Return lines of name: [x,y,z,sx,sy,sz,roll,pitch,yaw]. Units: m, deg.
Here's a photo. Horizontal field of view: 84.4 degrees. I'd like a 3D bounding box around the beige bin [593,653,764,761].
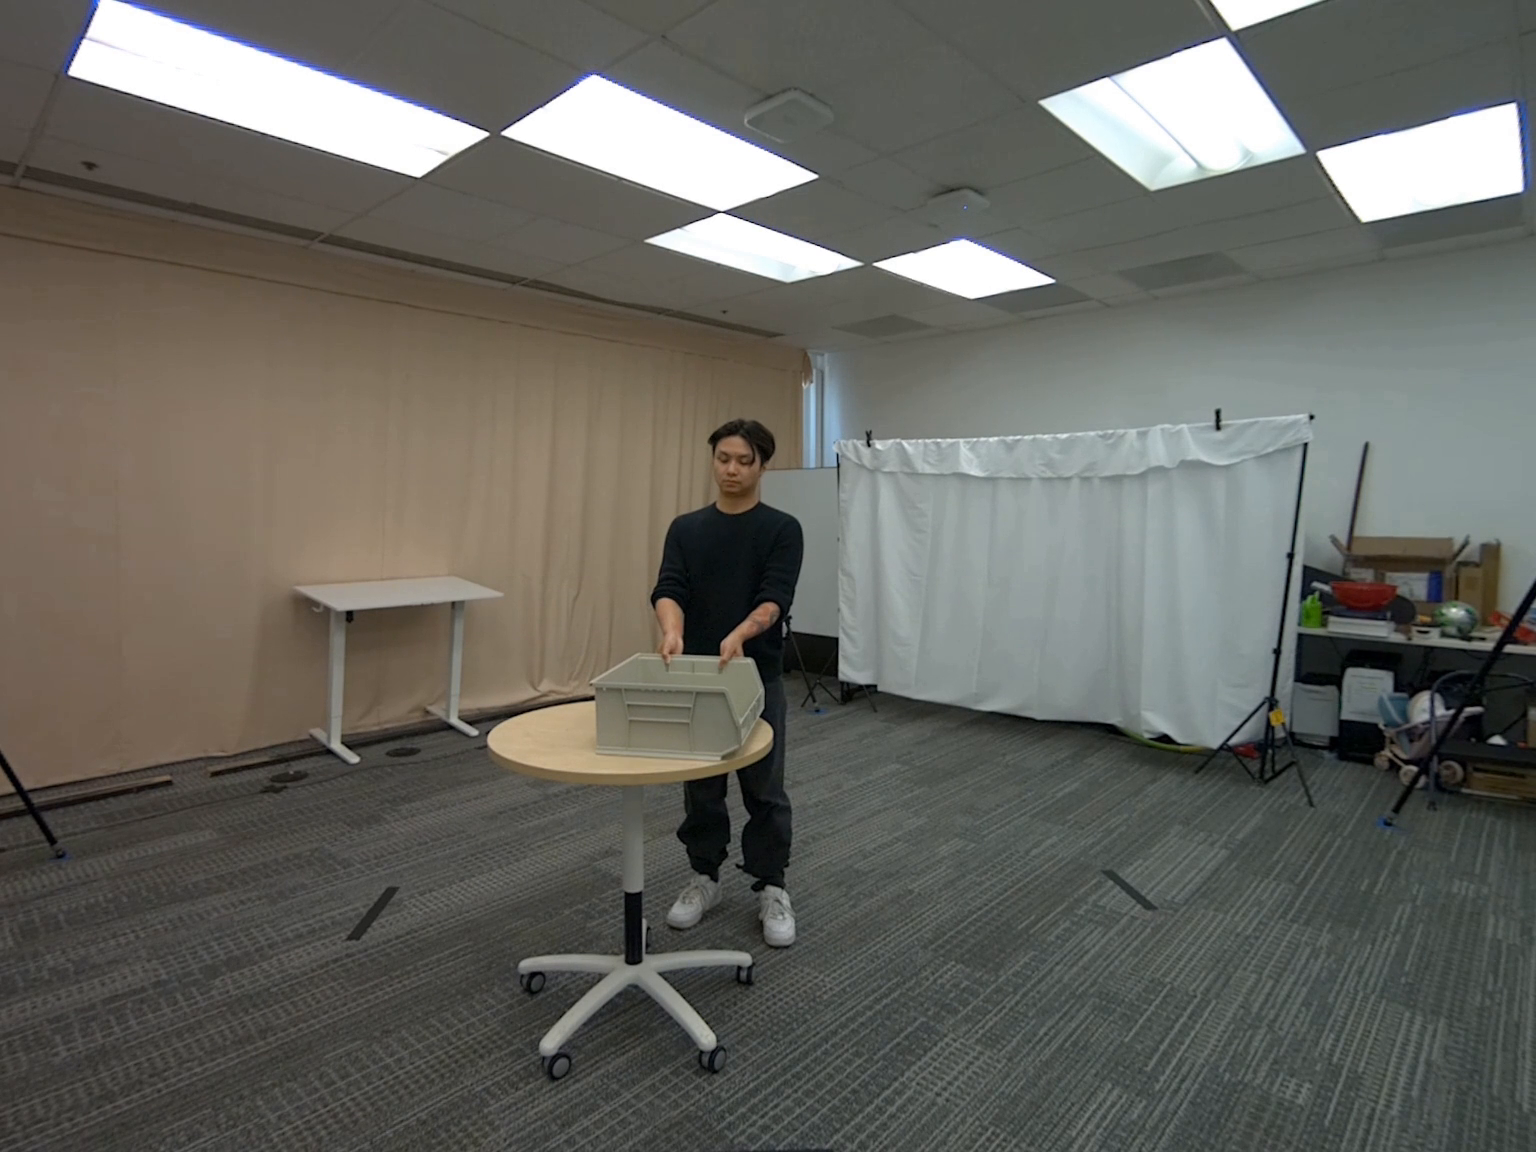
beige bin: [-0.220,0.336,2.229,0.381,0.188,0.419,0,5,7]
